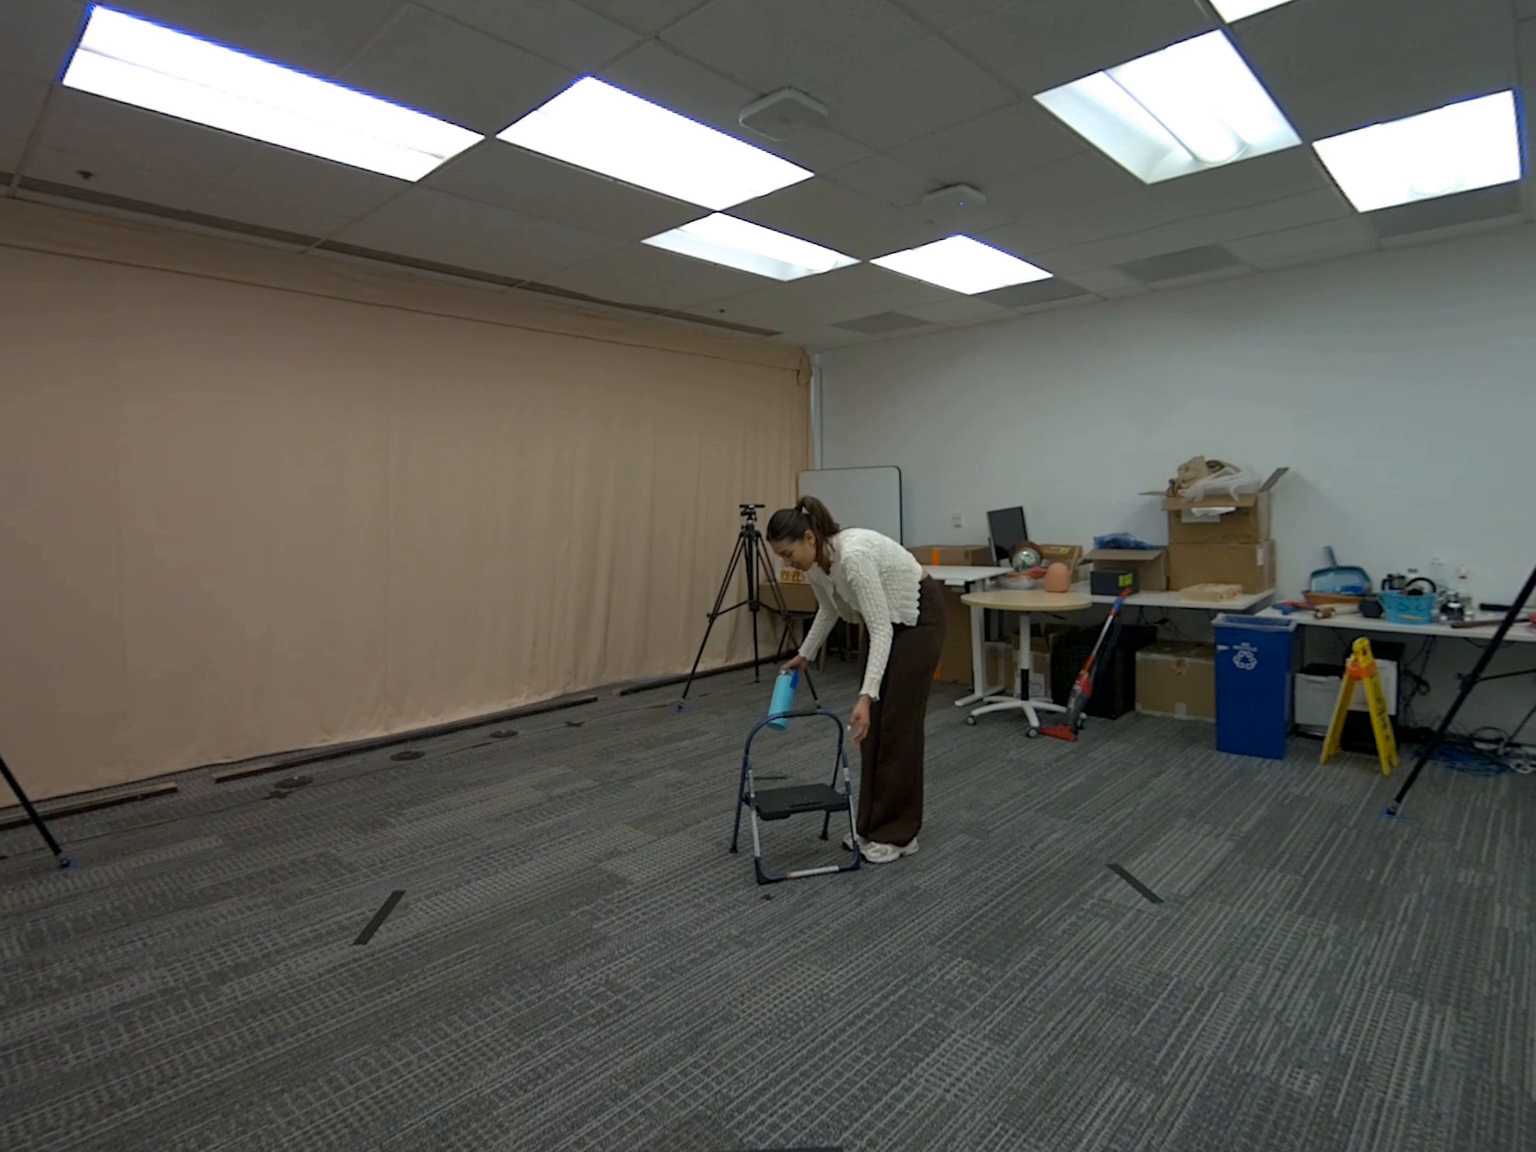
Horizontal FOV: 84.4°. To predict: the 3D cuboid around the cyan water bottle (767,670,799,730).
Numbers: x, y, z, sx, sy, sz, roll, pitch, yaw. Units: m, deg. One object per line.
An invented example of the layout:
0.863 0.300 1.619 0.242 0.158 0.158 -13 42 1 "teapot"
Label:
0.076 0.532 3.644 0.093 0.285 0.091 13 -28 5 "cyan water bottle"
